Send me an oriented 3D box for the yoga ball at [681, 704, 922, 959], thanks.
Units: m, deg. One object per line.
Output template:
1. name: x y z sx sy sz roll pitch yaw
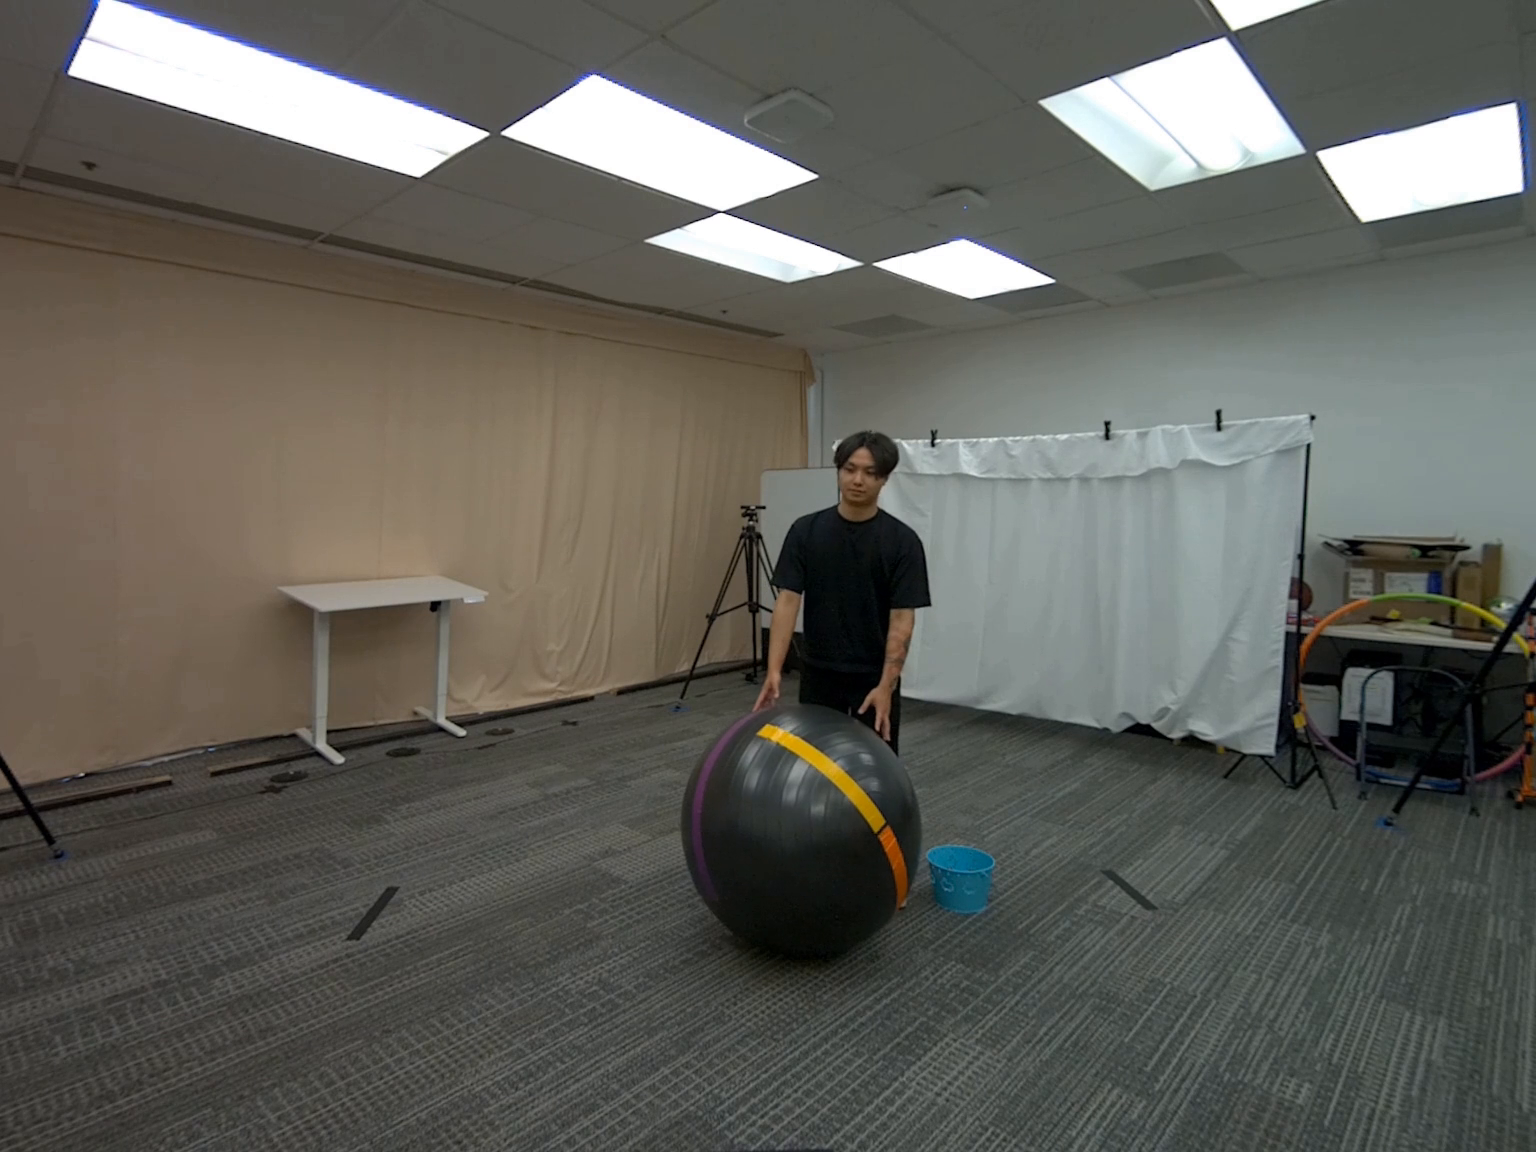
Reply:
1. yoga ball: 0.107 0.799 2.679 0.757 0.756 0.760 0 4 -2
